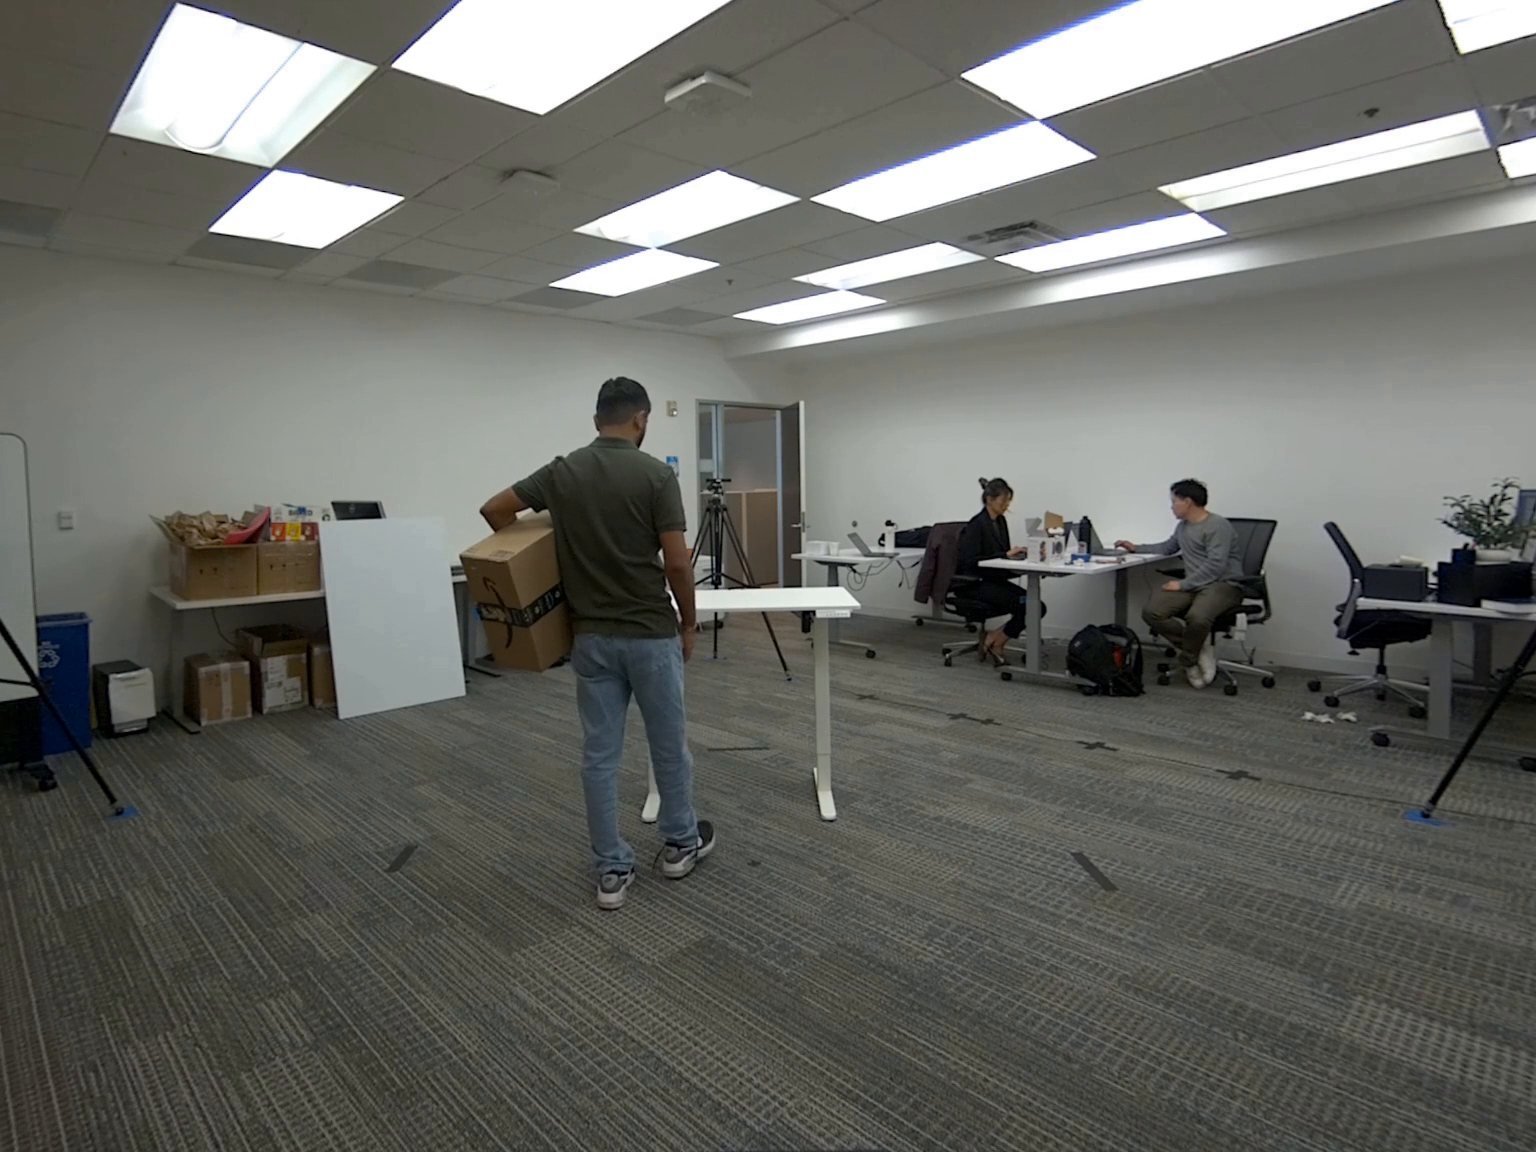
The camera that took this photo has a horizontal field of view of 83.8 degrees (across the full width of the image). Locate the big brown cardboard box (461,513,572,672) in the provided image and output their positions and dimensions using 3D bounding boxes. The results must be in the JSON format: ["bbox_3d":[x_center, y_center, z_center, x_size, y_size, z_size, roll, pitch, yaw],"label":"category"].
[{"bbox_3d":[-0.723,-0.001,2.944,0.239,0.408,0.586,4,28,30],"label":"big brown cardboard box"}]
